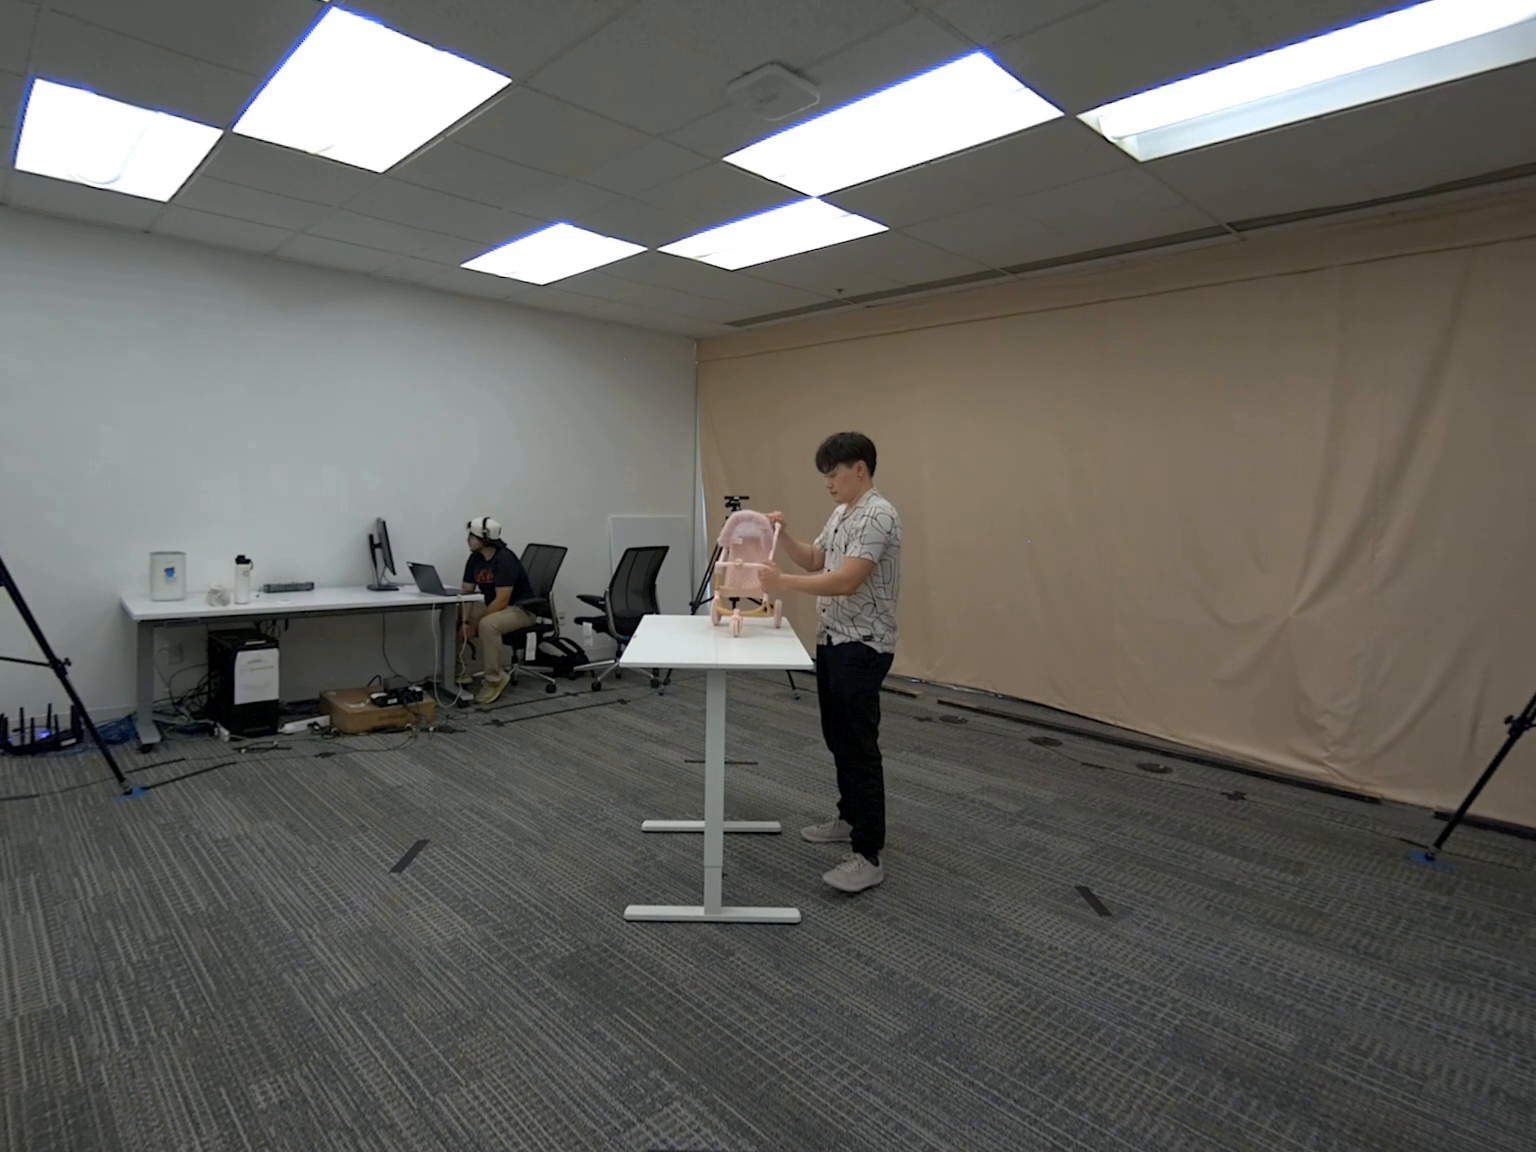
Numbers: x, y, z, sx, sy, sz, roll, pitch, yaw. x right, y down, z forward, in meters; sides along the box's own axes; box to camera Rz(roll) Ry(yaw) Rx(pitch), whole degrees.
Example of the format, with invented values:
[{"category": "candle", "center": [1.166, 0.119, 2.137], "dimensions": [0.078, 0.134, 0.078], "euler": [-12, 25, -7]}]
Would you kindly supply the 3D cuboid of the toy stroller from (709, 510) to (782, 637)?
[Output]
[{"category": "toy stroller", "center": [-0.090, -0.014, 3.252], "dimensions": [0.285, 0.539, 0.335], "euler": [2, -11, 13]}]
